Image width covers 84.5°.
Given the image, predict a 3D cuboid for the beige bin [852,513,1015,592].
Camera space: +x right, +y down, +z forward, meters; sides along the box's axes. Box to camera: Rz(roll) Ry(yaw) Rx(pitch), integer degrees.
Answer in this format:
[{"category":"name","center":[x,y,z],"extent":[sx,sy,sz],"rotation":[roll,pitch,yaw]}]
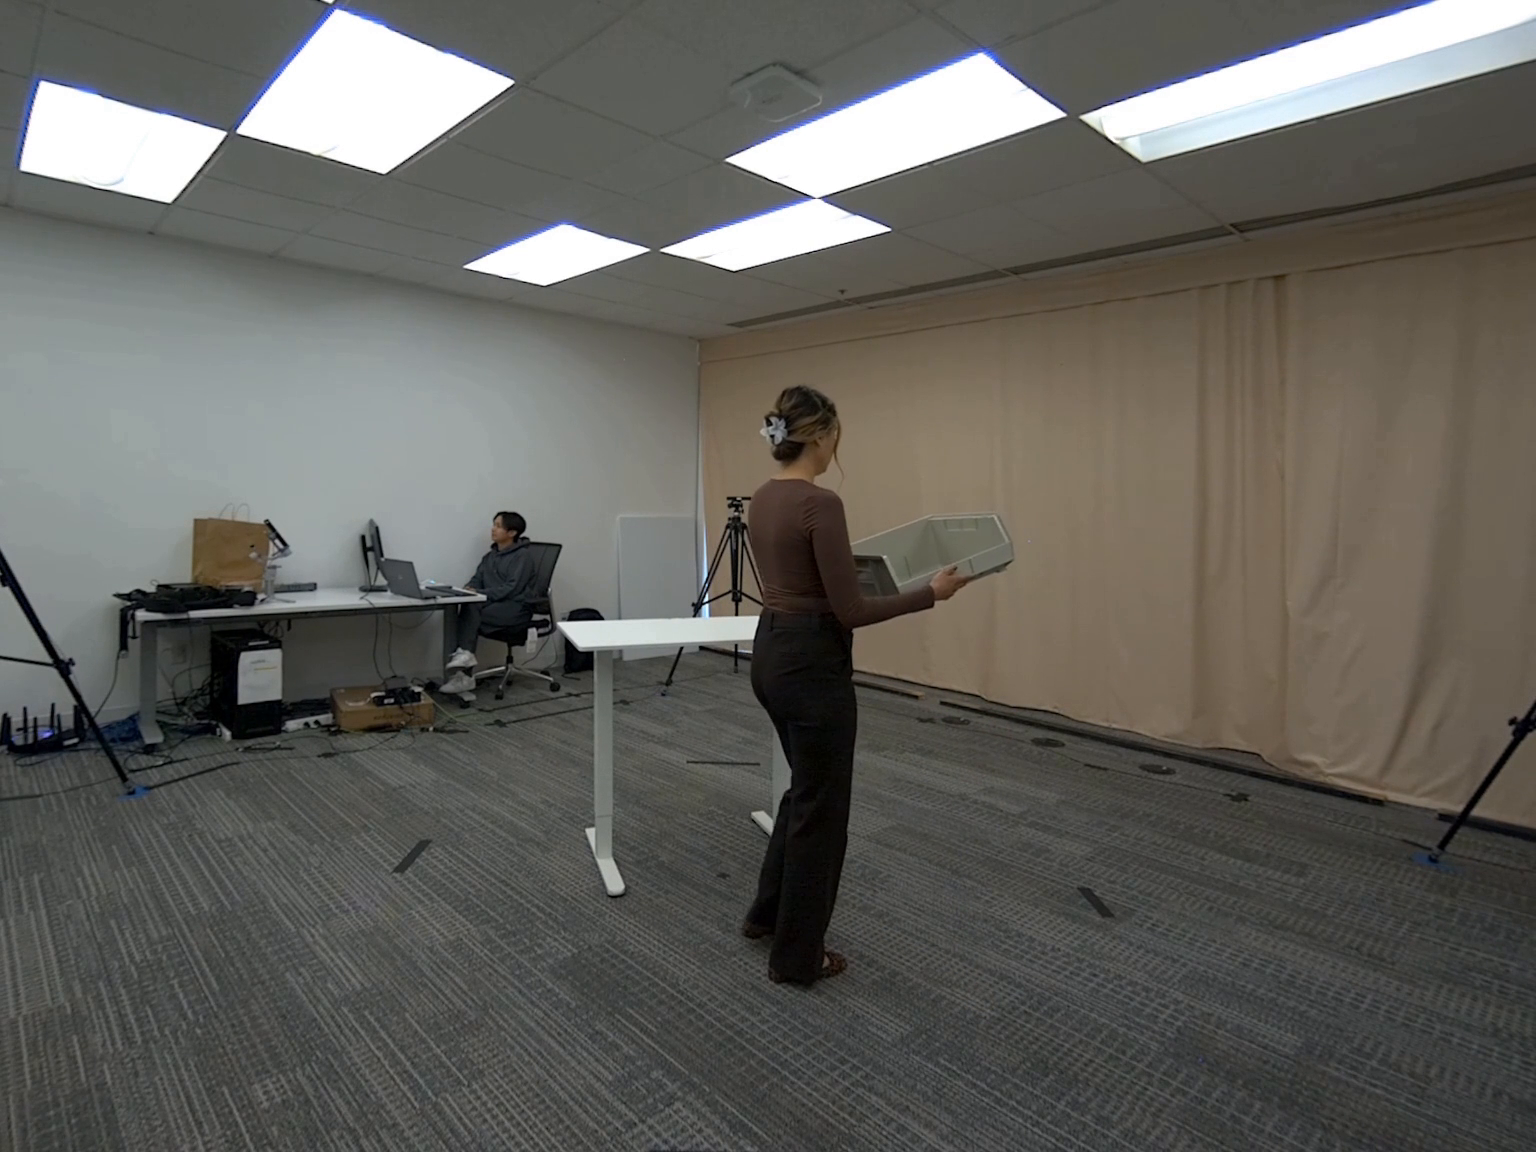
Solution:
[{"category":"beige bin","center":[0.457,-0.040,2.560],"extent":[0.418,0.188,0.384],"rotation":[-20,9,-21]}]
